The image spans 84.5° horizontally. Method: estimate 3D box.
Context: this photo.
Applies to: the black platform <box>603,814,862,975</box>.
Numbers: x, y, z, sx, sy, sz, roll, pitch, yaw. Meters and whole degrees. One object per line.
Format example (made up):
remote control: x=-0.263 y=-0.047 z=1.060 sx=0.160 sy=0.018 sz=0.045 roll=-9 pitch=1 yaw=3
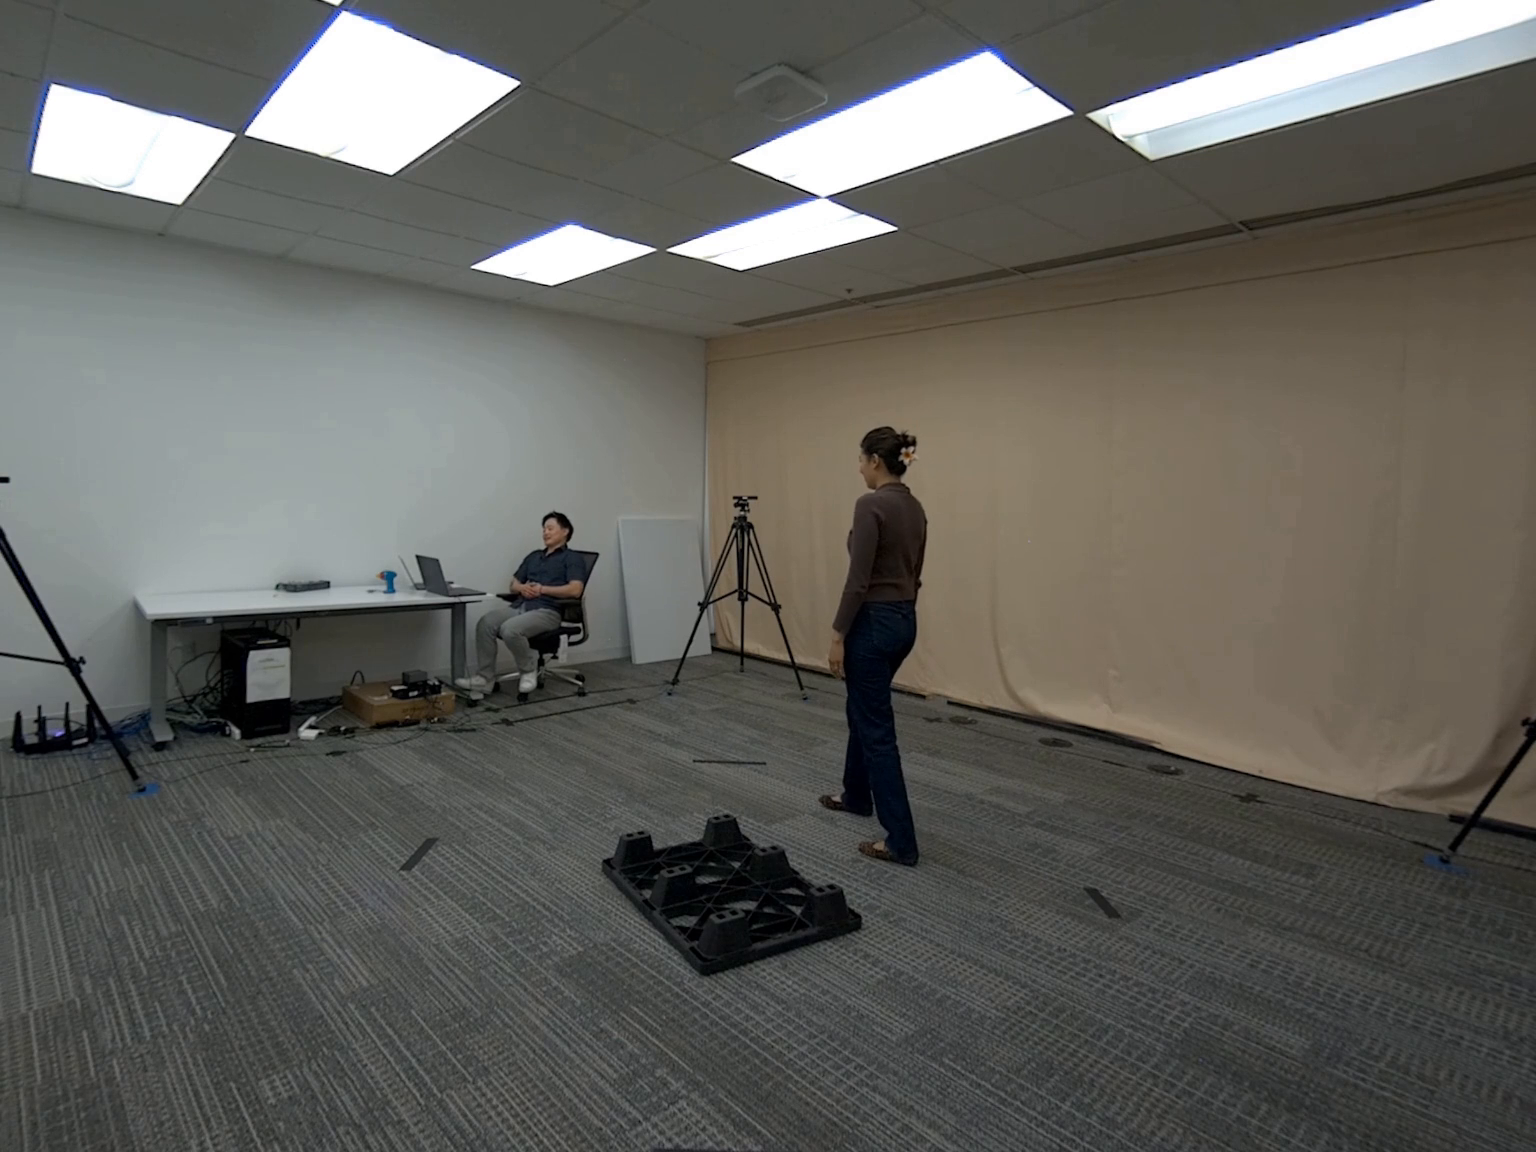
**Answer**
black platform: x=-0.152 y=1.053 z=2.918 sx=0.593 sy=0.143 sz=0.825 roll=-2 pitch=6 yaw=-32
